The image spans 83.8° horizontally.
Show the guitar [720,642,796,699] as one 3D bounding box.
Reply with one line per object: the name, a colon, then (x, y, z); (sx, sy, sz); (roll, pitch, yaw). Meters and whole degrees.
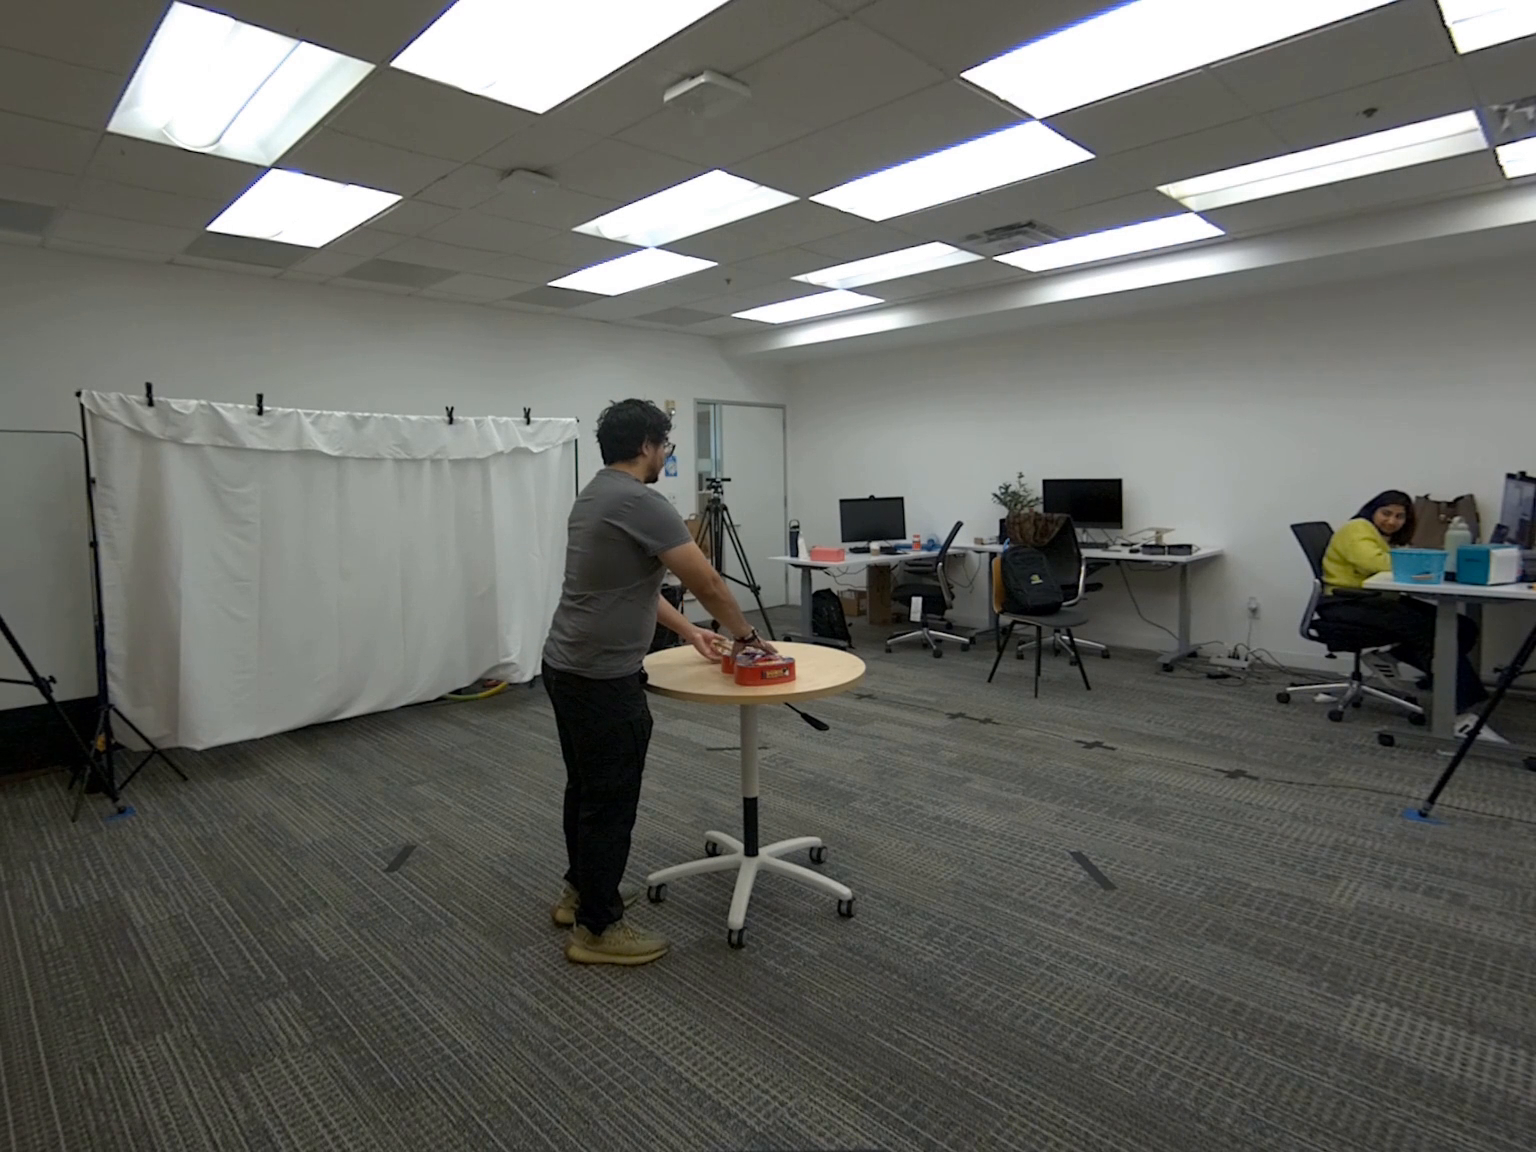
guitar: (-0.058, 0.263, 2.770); (0.191, 0.070, 0.507); (-6, 8, -14)
